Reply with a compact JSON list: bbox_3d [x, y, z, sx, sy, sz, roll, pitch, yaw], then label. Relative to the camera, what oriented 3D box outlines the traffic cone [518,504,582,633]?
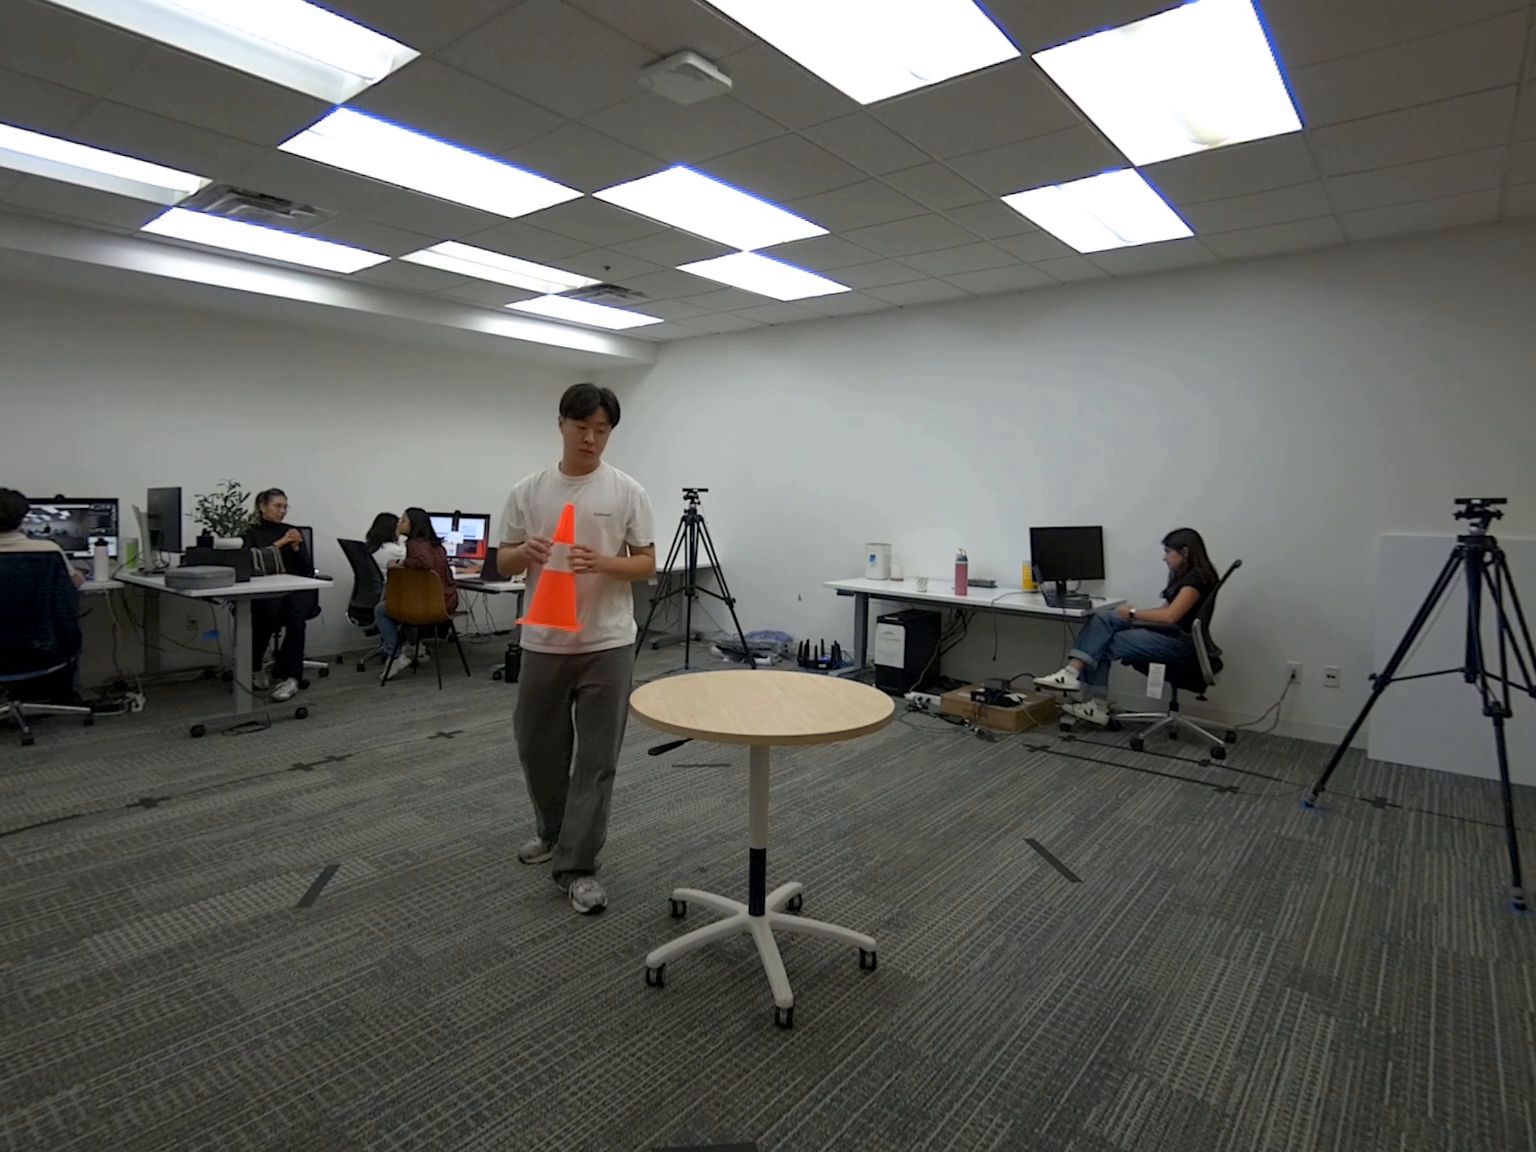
[{"bbox_3d":[-0.665,-0.044,2.703,0.203,0.383,0.206,7,2,-2],"label":"traffic cone"}]
